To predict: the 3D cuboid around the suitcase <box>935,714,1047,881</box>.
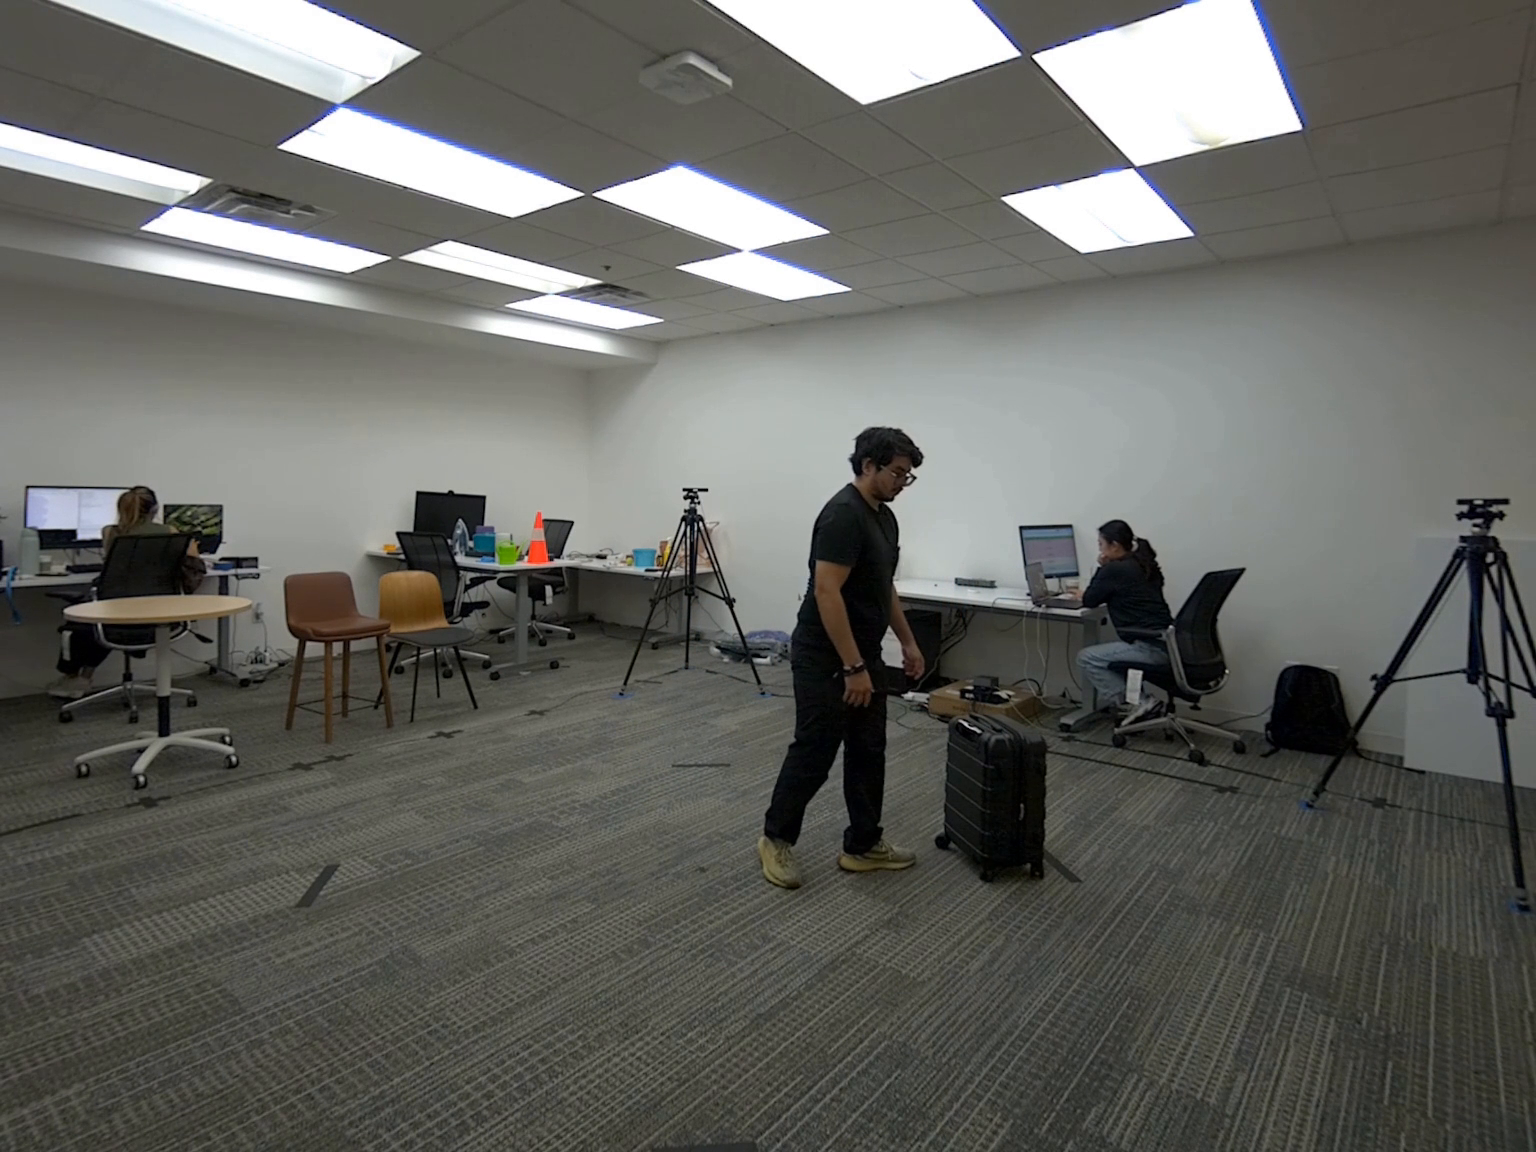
[{"bbox_3d":[0.846,0.806,3.213,0.245,0.548,0.382,0,4,-13],"label":"suitcase"}]
